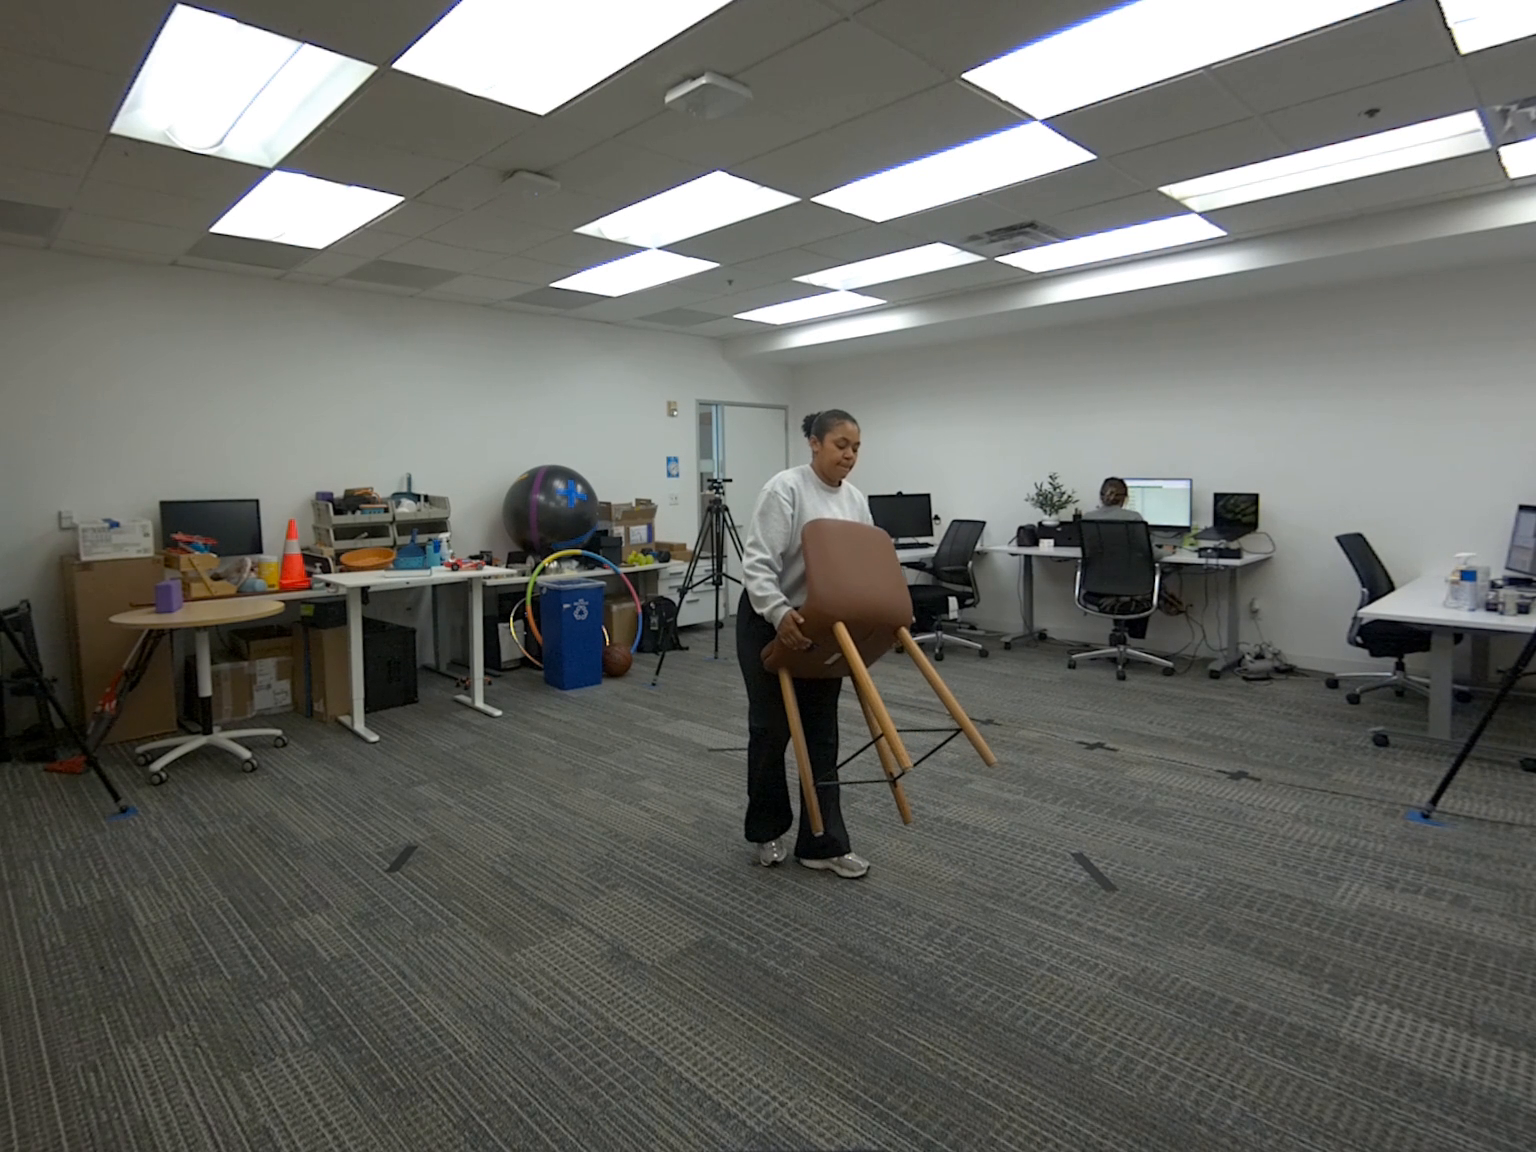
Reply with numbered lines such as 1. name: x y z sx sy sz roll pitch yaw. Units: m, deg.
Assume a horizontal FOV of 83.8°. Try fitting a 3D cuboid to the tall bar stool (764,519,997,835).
1. tall bar stool: 0.290 0.322 2.778 0.443 0.918 0.466 5 -38 -34
